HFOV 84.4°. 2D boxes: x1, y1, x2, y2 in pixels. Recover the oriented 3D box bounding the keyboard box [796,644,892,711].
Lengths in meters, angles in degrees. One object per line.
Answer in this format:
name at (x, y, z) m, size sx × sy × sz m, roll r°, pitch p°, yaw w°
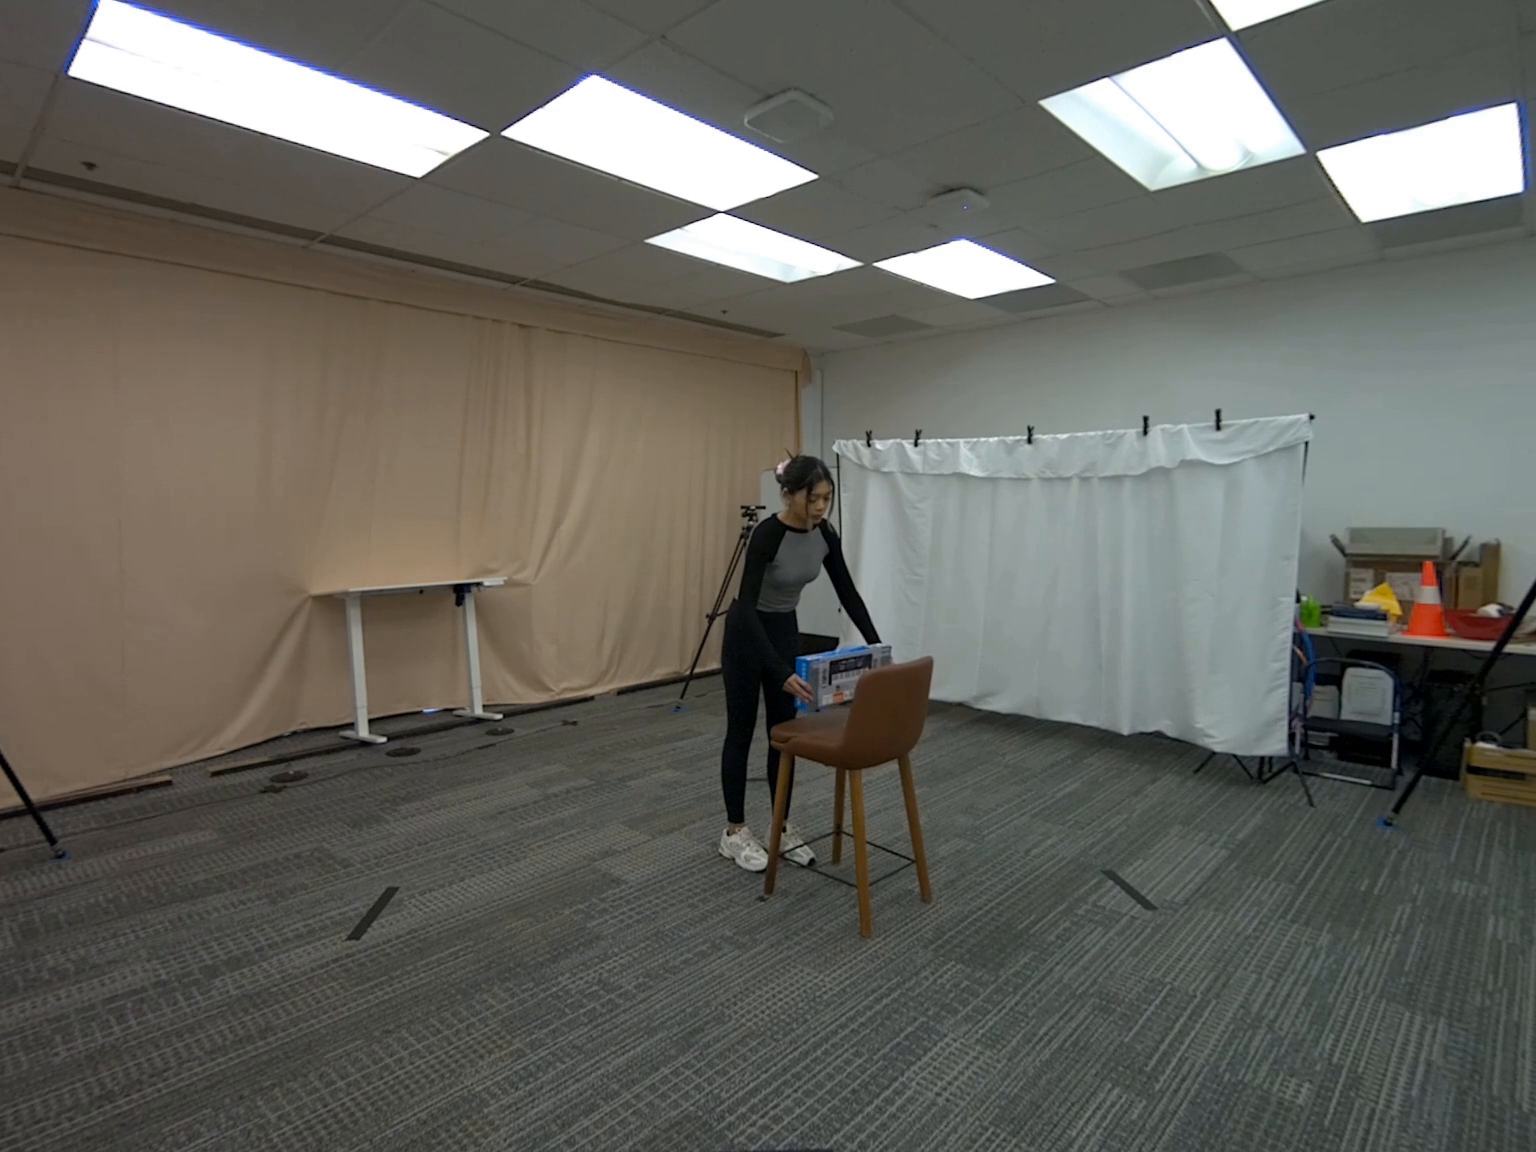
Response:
keyboard box at (0.275, 0.353, 2.963) m, size 0.424 × 0.175 × 0.061 m, roll -4°, pitch 7°, yaw -41°
